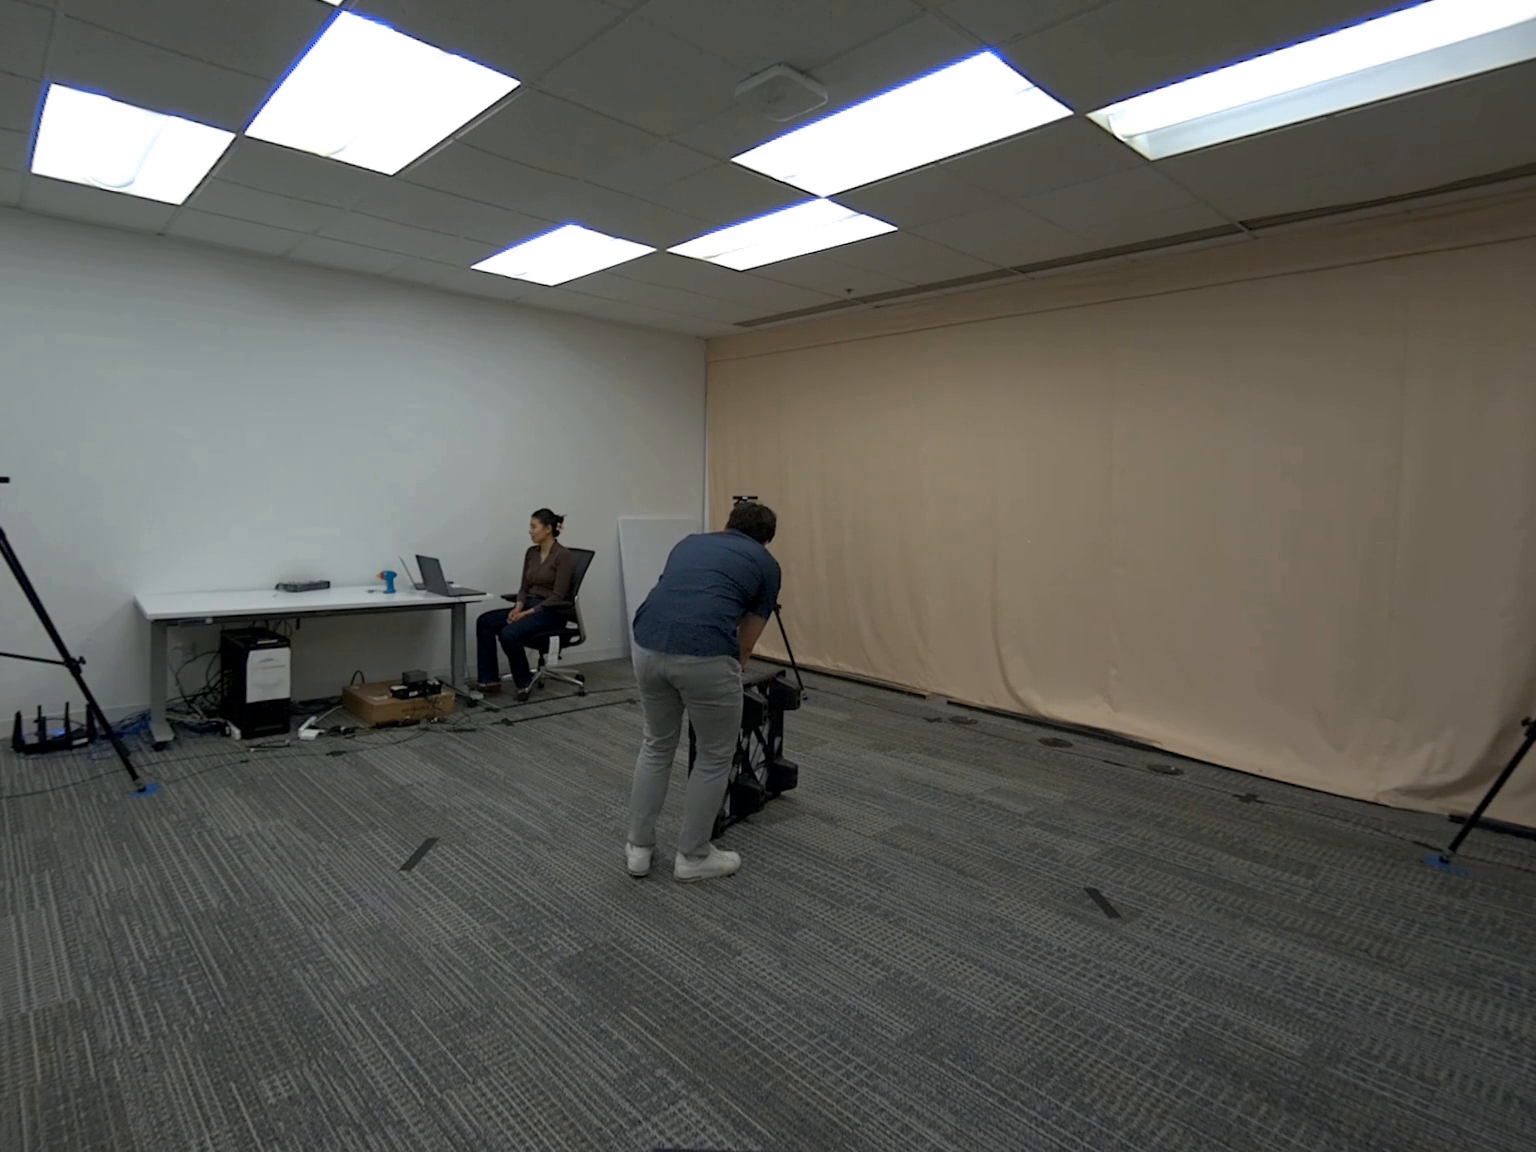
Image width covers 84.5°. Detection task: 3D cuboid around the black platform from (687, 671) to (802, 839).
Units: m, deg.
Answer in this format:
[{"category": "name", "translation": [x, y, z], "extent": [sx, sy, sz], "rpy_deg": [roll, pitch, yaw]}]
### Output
[{"category": "black platform", "translation": [-0.085, 0.757, 3.619], "extent": [0.146, 0.603, 0.791], "rpy_deg": [4, 4, 26]}]
